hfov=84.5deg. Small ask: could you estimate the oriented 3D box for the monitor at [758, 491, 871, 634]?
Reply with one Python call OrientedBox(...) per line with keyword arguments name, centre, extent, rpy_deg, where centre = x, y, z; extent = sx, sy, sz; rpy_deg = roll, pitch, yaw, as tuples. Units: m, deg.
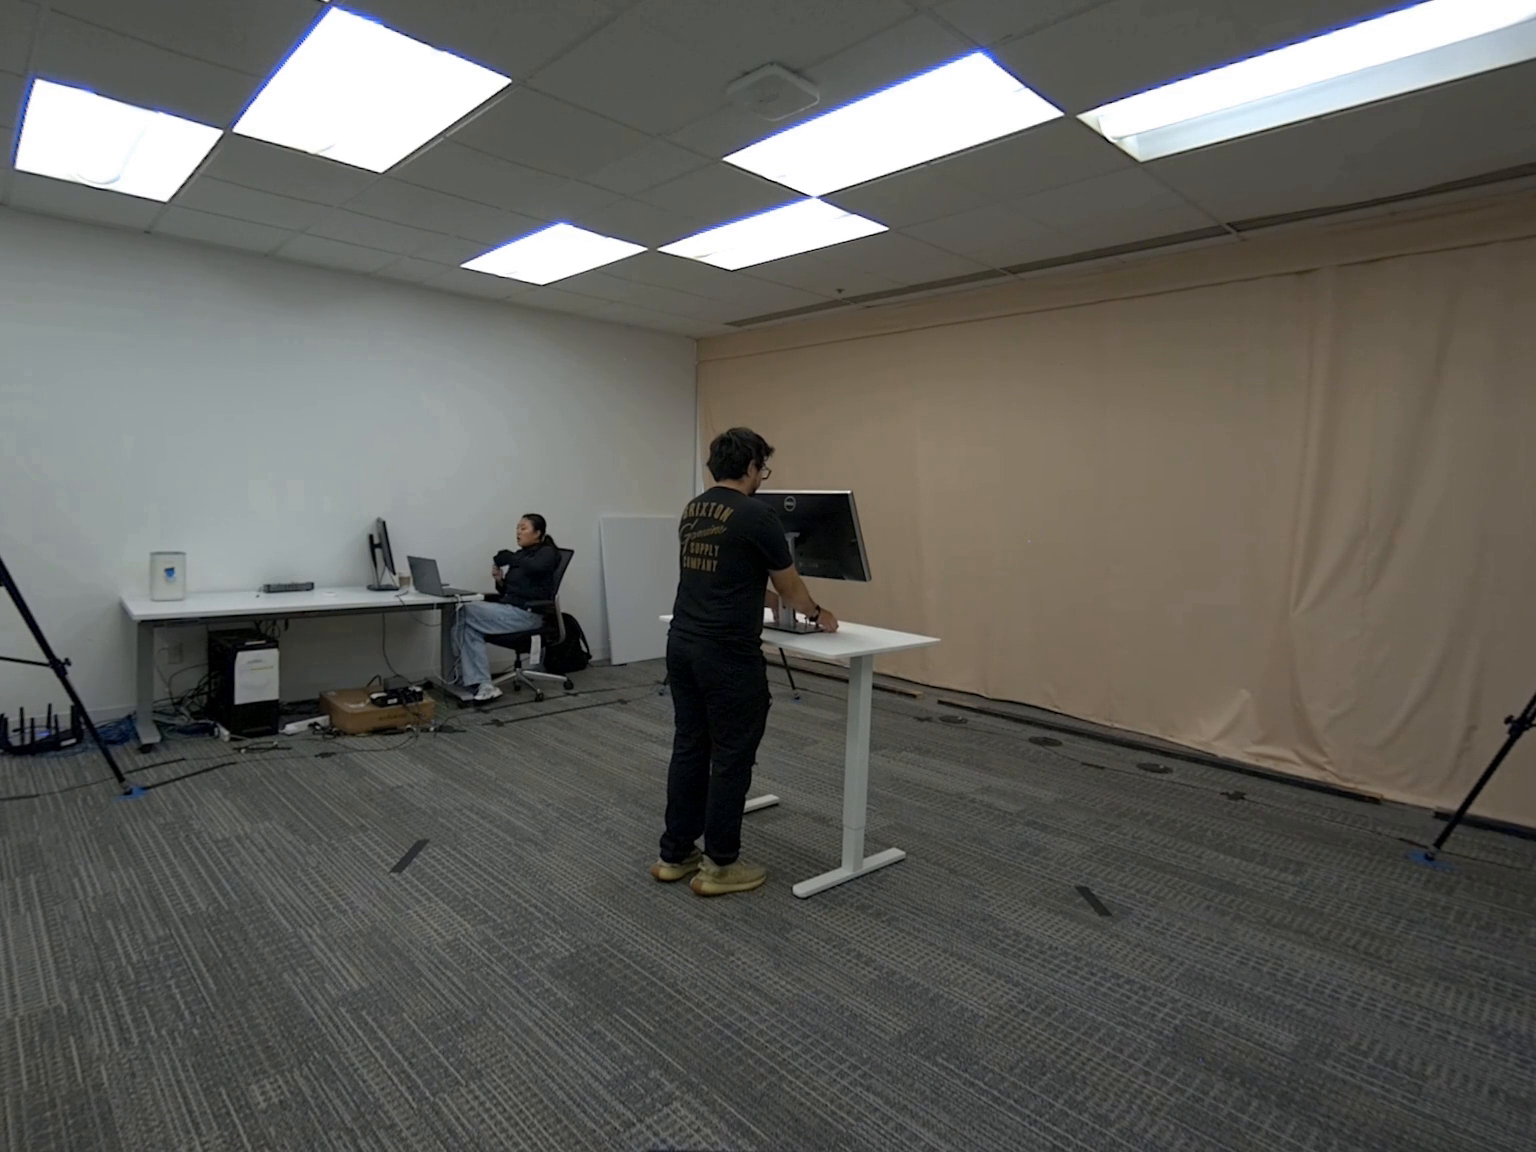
OrientedBox(name="monitor", centre=(0.090, -0.057, 3.283), extent=(0.580, 0.548, 0.207), rpy_deg=(6, 19, 43))
